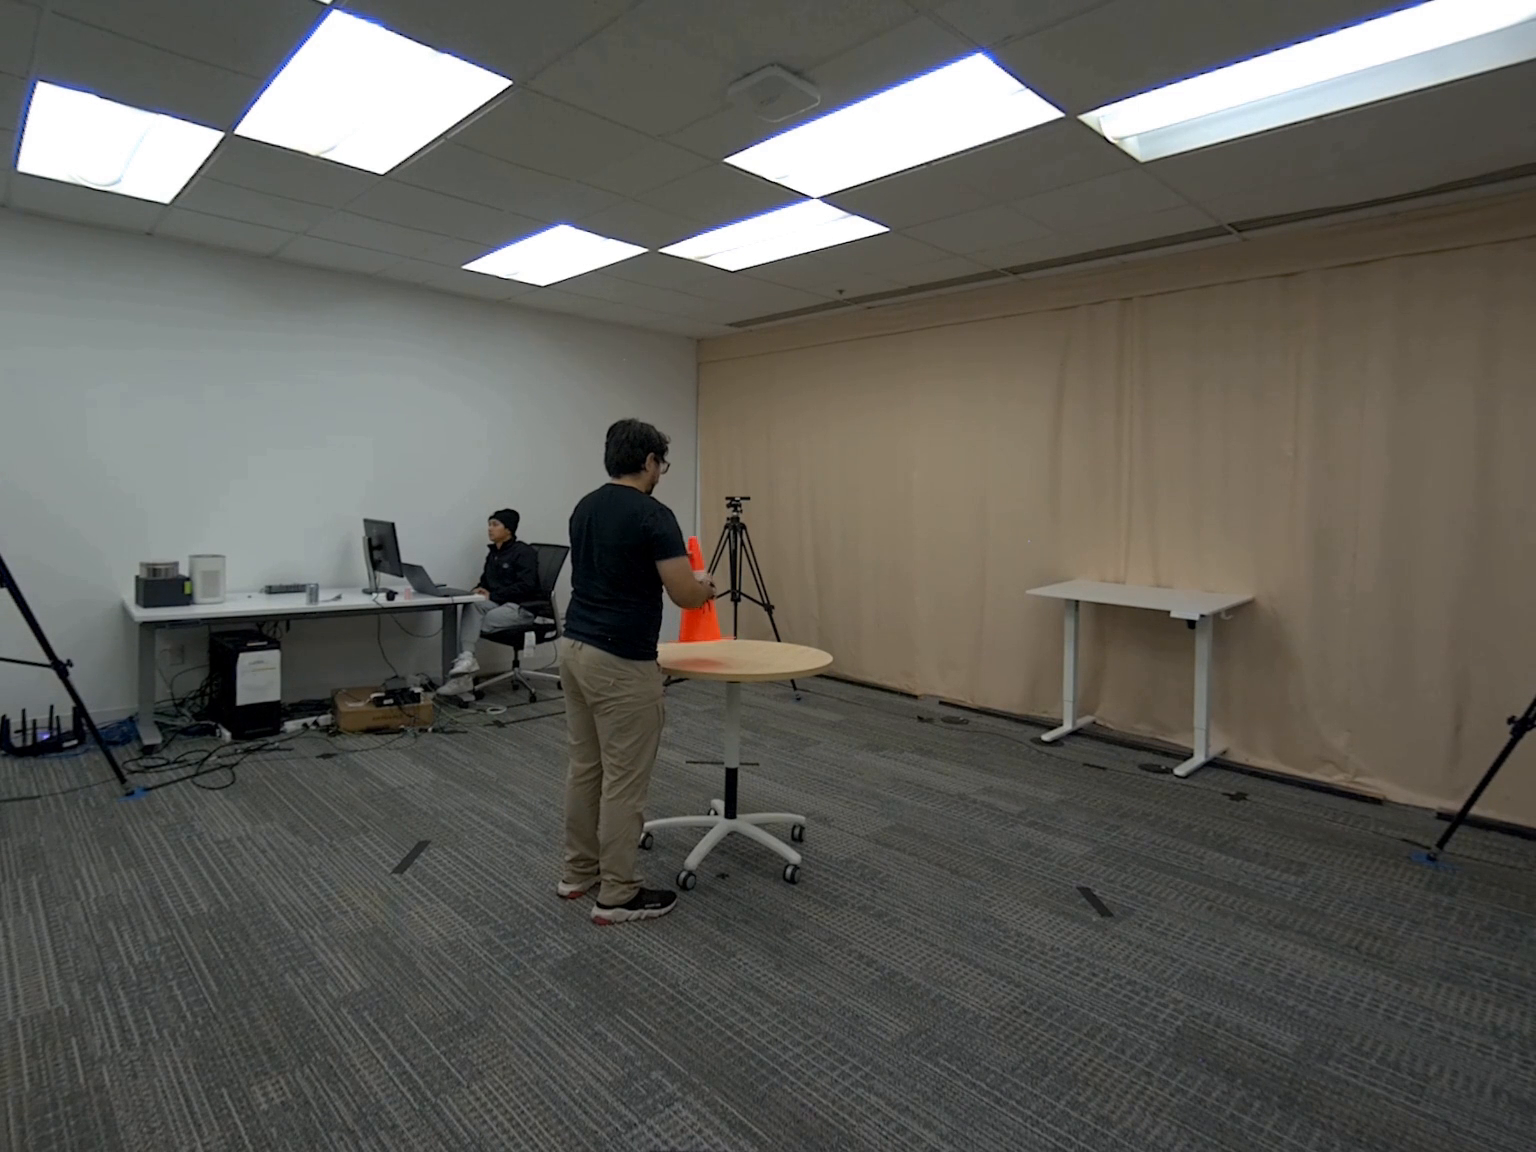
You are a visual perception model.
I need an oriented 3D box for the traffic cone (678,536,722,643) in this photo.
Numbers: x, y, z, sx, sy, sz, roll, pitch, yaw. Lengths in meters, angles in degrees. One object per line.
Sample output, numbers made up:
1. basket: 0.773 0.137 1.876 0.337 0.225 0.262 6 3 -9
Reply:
1. traffic cone: -0.262 0.049 3.090 0.208 0.384 0.200 -1 0 37
